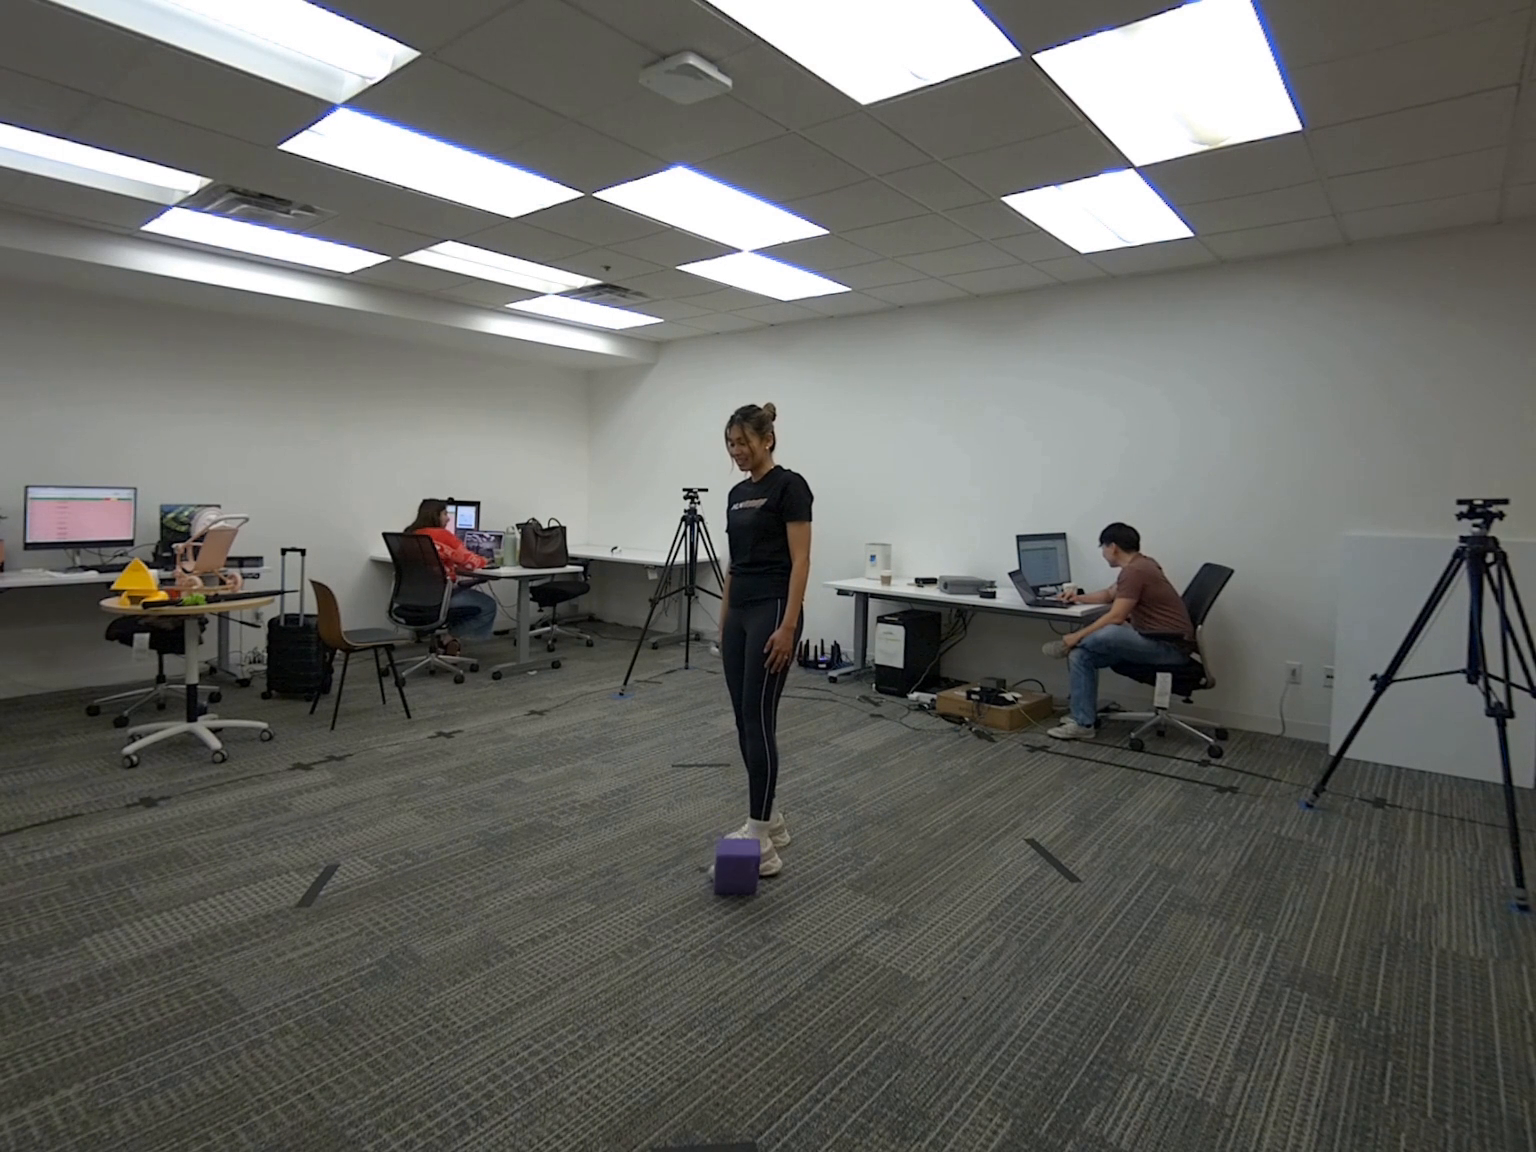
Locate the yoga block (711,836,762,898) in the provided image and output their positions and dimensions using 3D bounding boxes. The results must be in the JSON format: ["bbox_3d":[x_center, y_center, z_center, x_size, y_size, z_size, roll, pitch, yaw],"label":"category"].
[{"bbox_3d":[-0.116,0.991,2.881,0.148,0.223,0.079,1,38,-3],"label":"yoga block"}]
